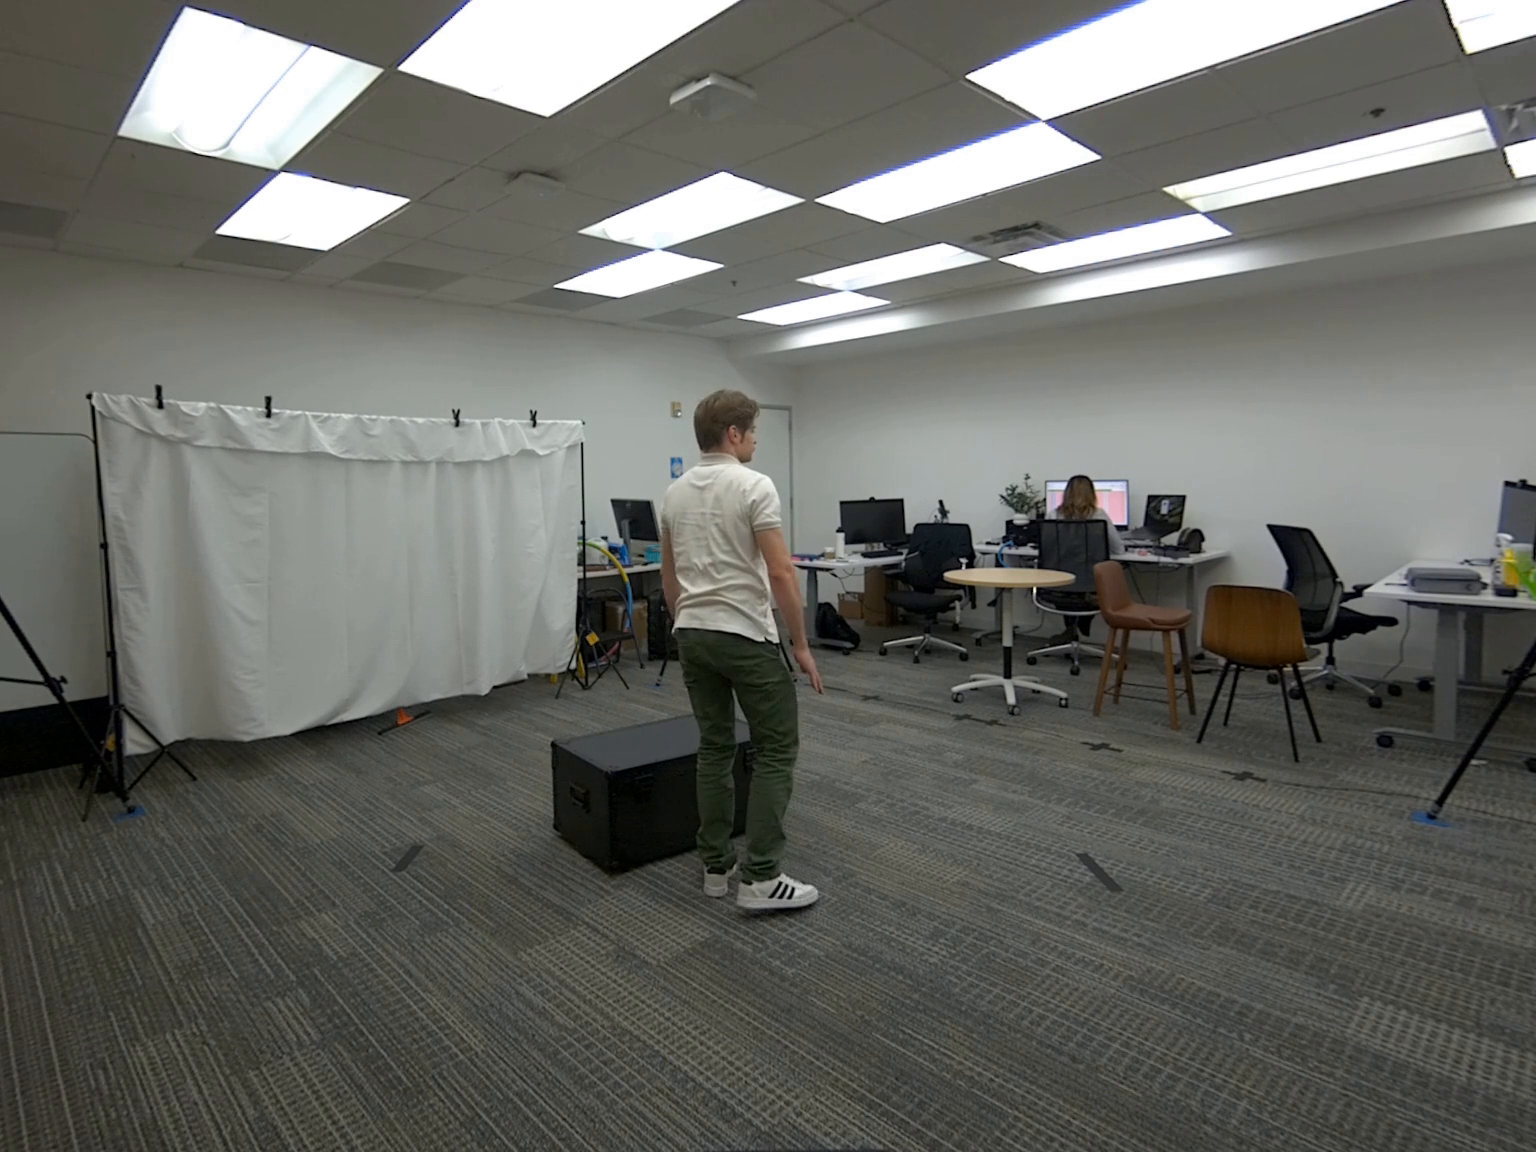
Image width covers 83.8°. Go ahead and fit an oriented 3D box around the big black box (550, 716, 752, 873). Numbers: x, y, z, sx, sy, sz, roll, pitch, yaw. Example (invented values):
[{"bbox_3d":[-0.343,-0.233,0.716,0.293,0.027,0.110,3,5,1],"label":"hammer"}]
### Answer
[{"bbox_3d":[-0.370,0.821,3.432,0.847,0.384,0.538,-5,5,-36],"label":"big black box"}]
